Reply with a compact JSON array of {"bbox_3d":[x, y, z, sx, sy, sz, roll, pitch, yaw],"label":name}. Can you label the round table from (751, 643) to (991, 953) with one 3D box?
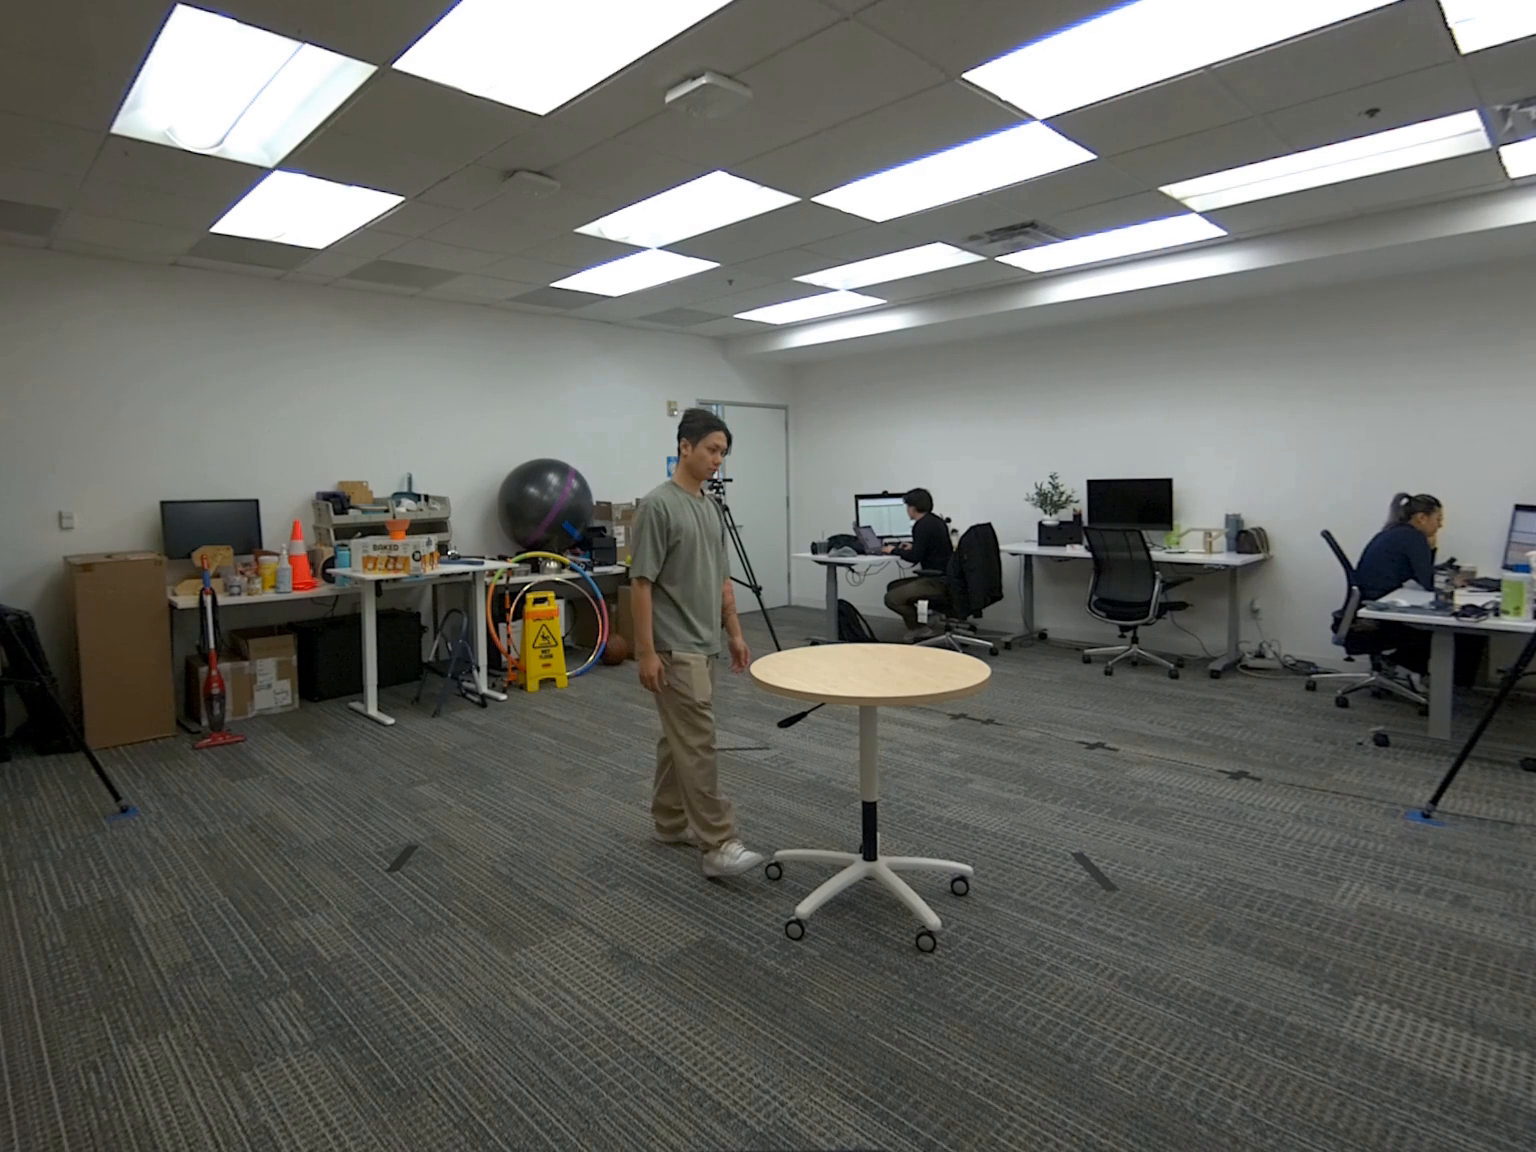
[{"bbox_3d":[0.336,0.681,2.809,0.784,0.783,0.789,-1,6,-2],"label":"round table"}]
